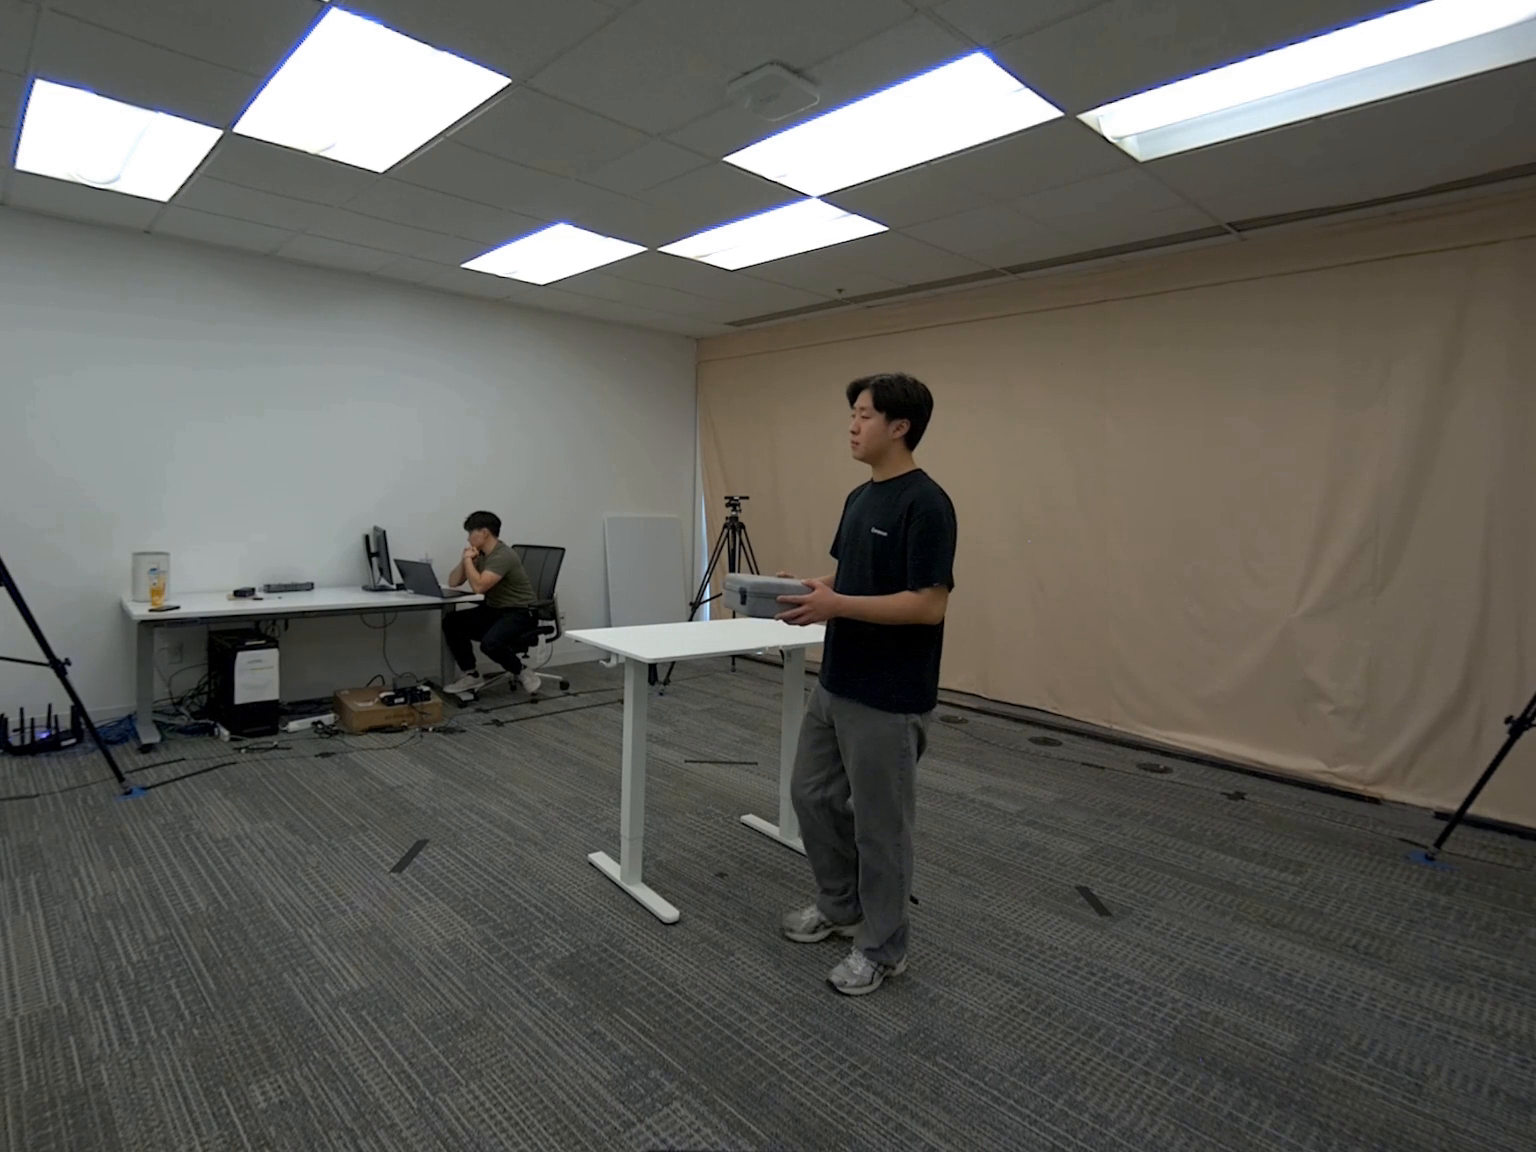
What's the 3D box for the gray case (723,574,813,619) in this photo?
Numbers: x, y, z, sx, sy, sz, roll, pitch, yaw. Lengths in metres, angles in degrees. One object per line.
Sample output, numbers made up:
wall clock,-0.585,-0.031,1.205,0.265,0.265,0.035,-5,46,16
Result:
gray case,0.062,0.069,2.433,0.266,0.103,0.283,2,0,14
